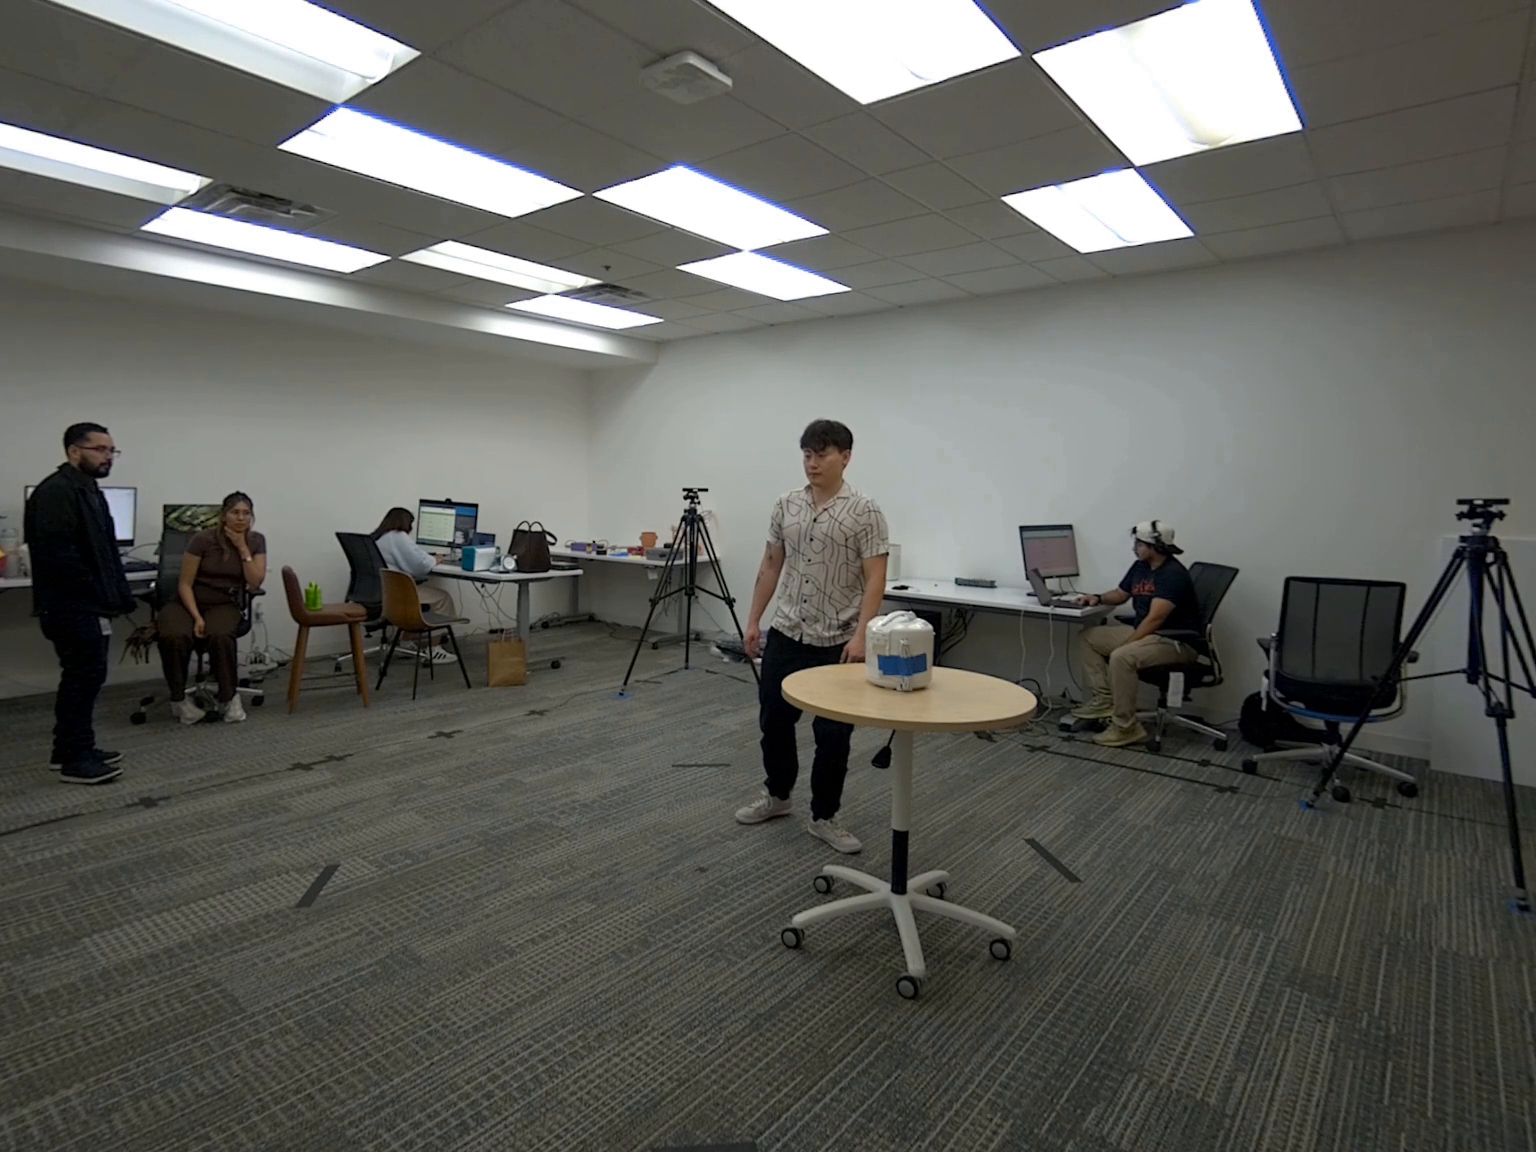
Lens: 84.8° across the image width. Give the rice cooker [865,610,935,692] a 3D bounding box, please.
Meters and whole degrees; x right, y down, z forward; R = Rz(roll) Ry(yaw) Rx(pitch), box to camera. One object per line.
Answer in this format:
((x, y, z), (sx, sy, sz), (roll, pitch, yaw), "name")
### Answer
((0.410, 0.225, 2.694), (0.214, 0.232, 0.225), (-2, 6, -45), "rice cooker")
